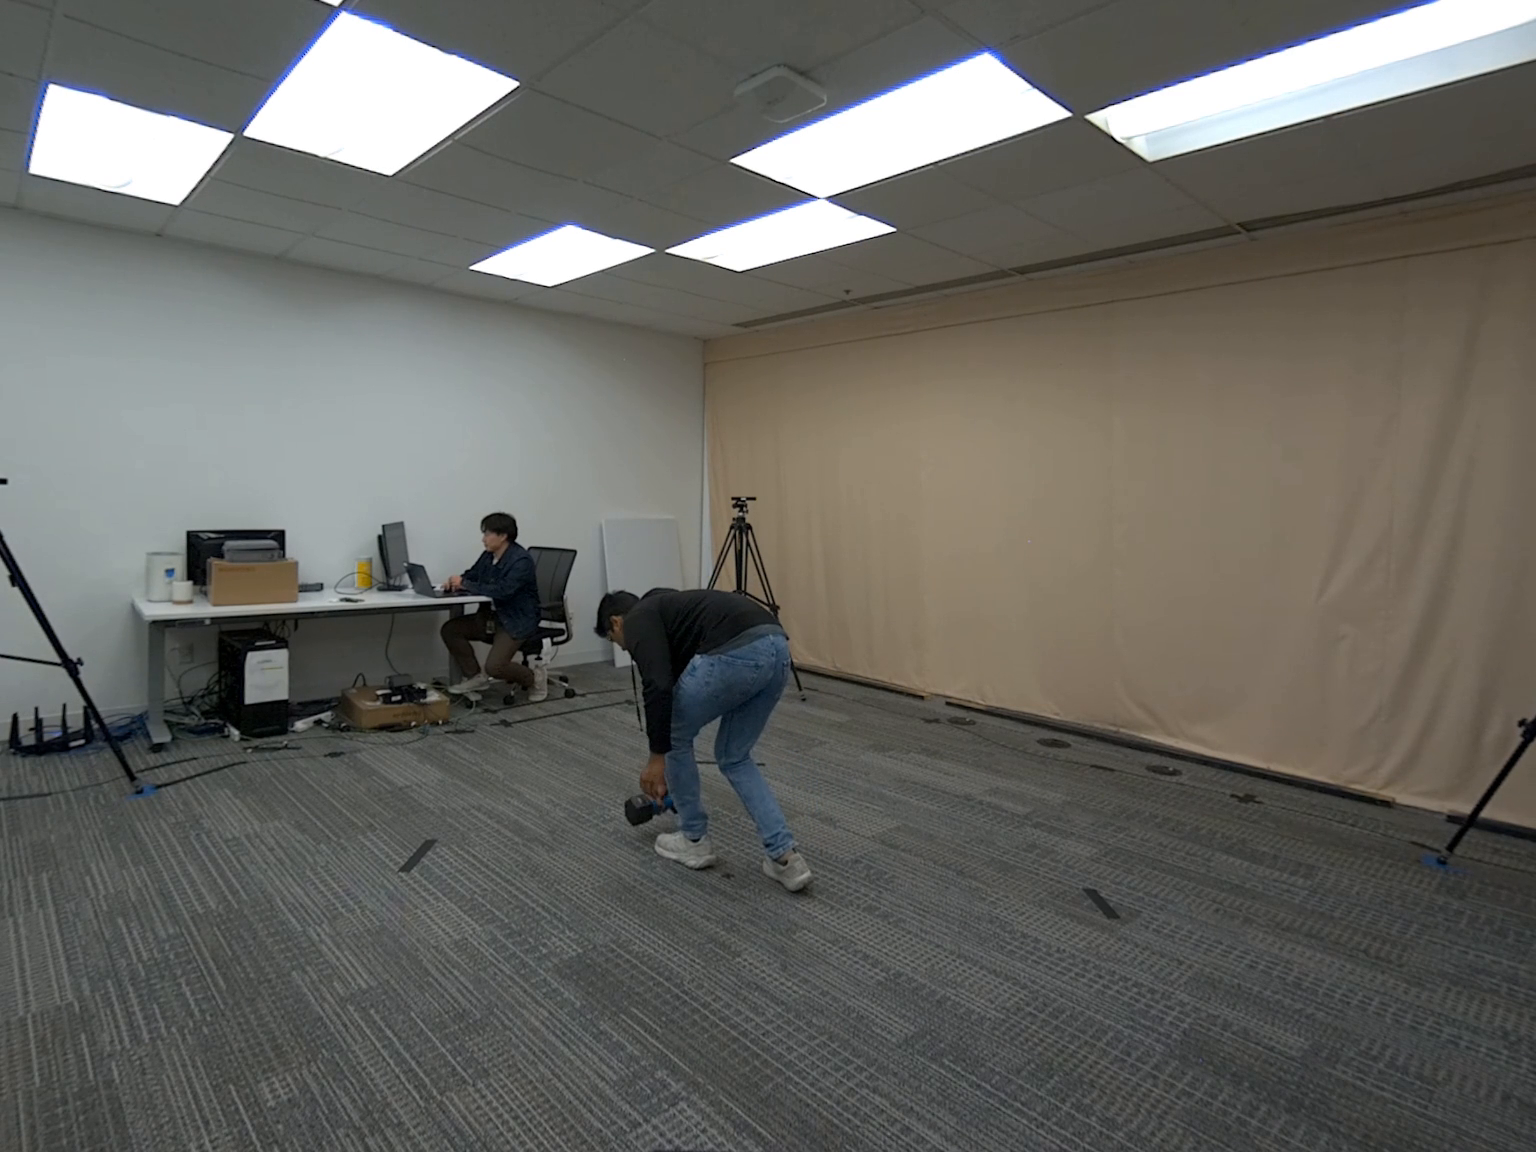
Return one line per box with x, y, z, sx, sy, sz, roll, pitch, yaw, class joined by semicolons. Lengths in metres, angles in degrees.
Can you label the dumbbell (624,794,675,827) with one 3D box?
-0.453;0.928;3.483;0.287;0.108;0.127;-4;33;-42;dumbbell
